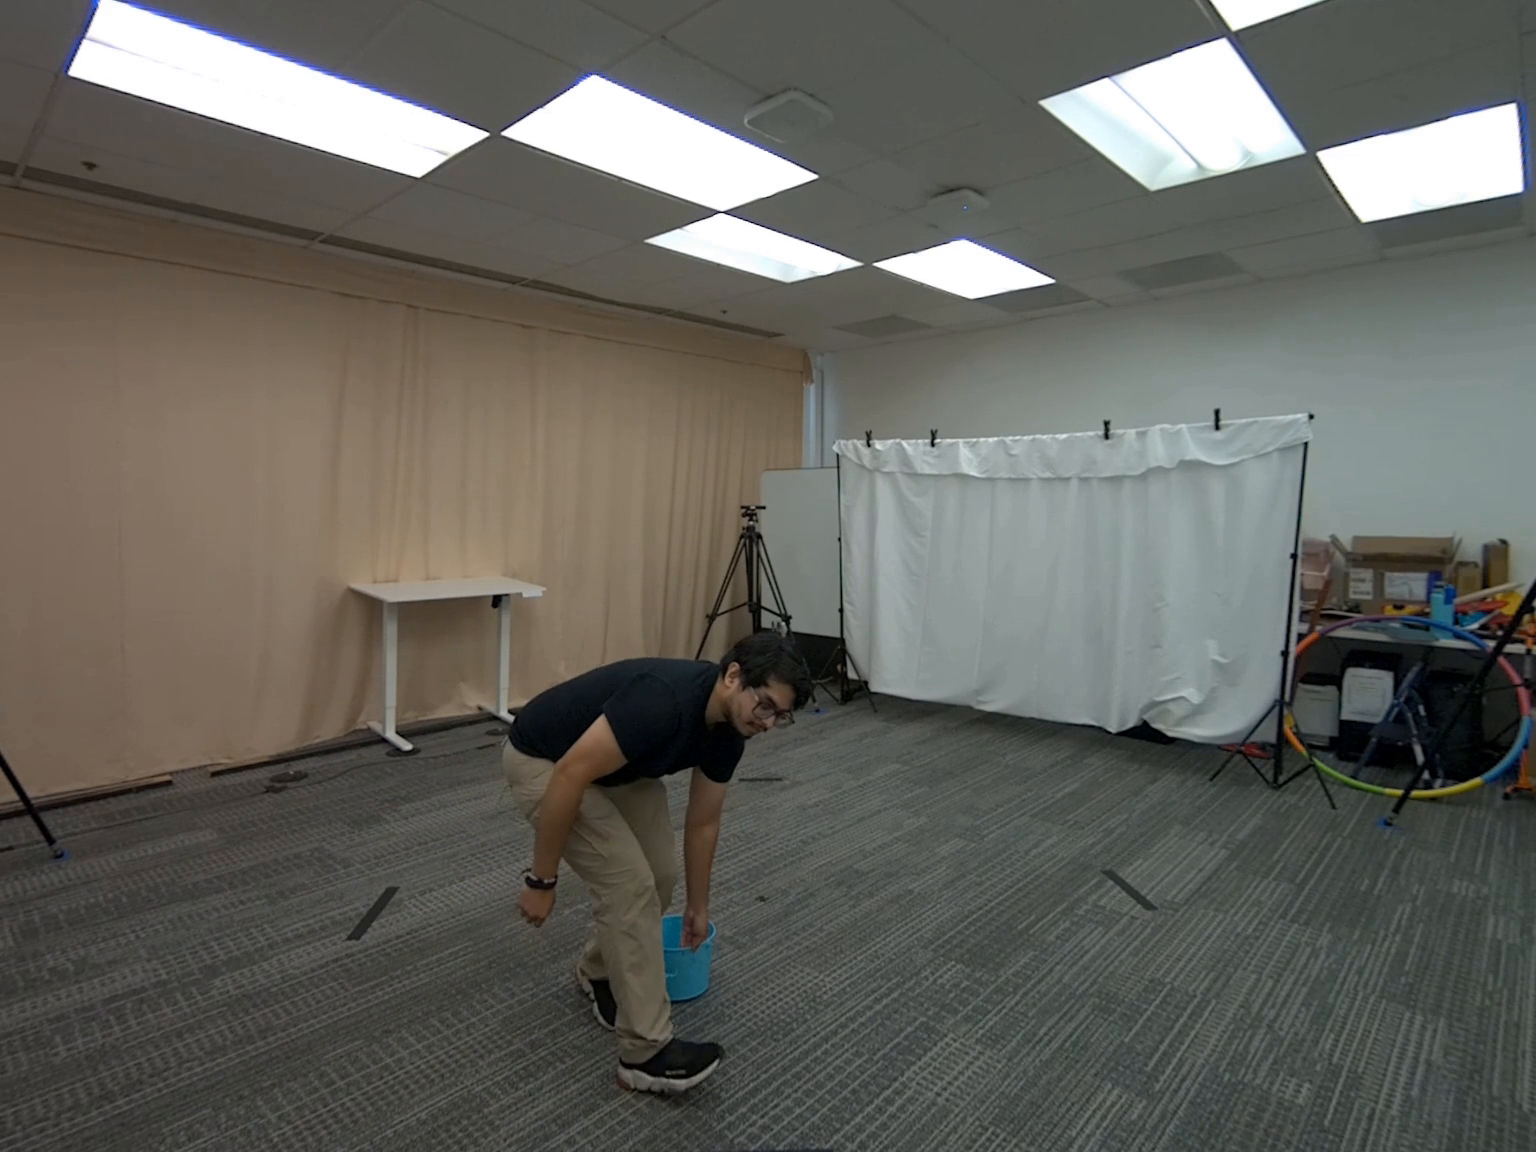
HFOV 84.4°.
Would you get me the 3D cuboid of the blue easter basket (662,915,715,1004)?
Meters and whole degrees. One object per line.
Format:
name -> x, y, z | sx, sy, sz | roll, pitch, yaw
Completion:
blue easter basket -> -0.257, 1.114, 2.433 | 0.243, 0.156, 0.244 | -1, 2, -2
